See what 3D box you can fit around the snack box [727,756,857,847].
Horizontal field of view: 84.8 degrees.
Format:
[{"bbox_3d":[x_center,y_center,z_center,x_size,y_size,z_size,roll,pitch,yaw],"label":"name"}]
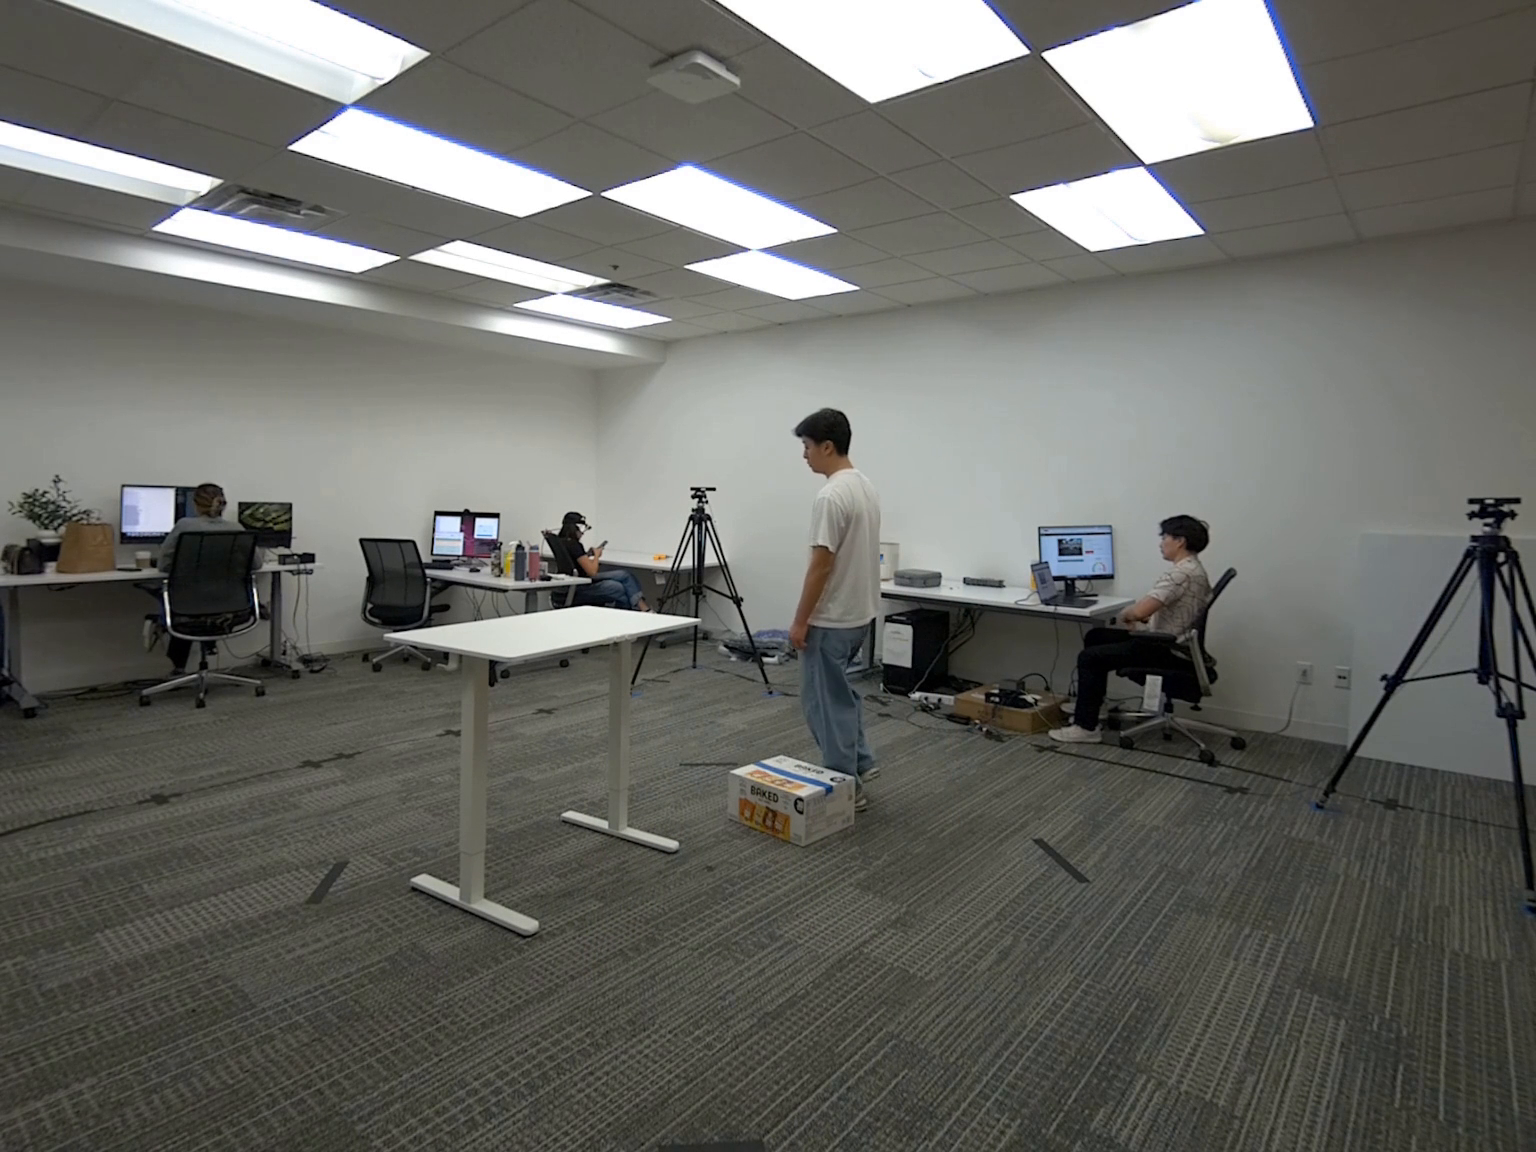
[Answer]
[{"bbox_3d":[0.086,0.927,3.555,0.419,0.205,0.330,6,7,42],"label":"snack box"}]
